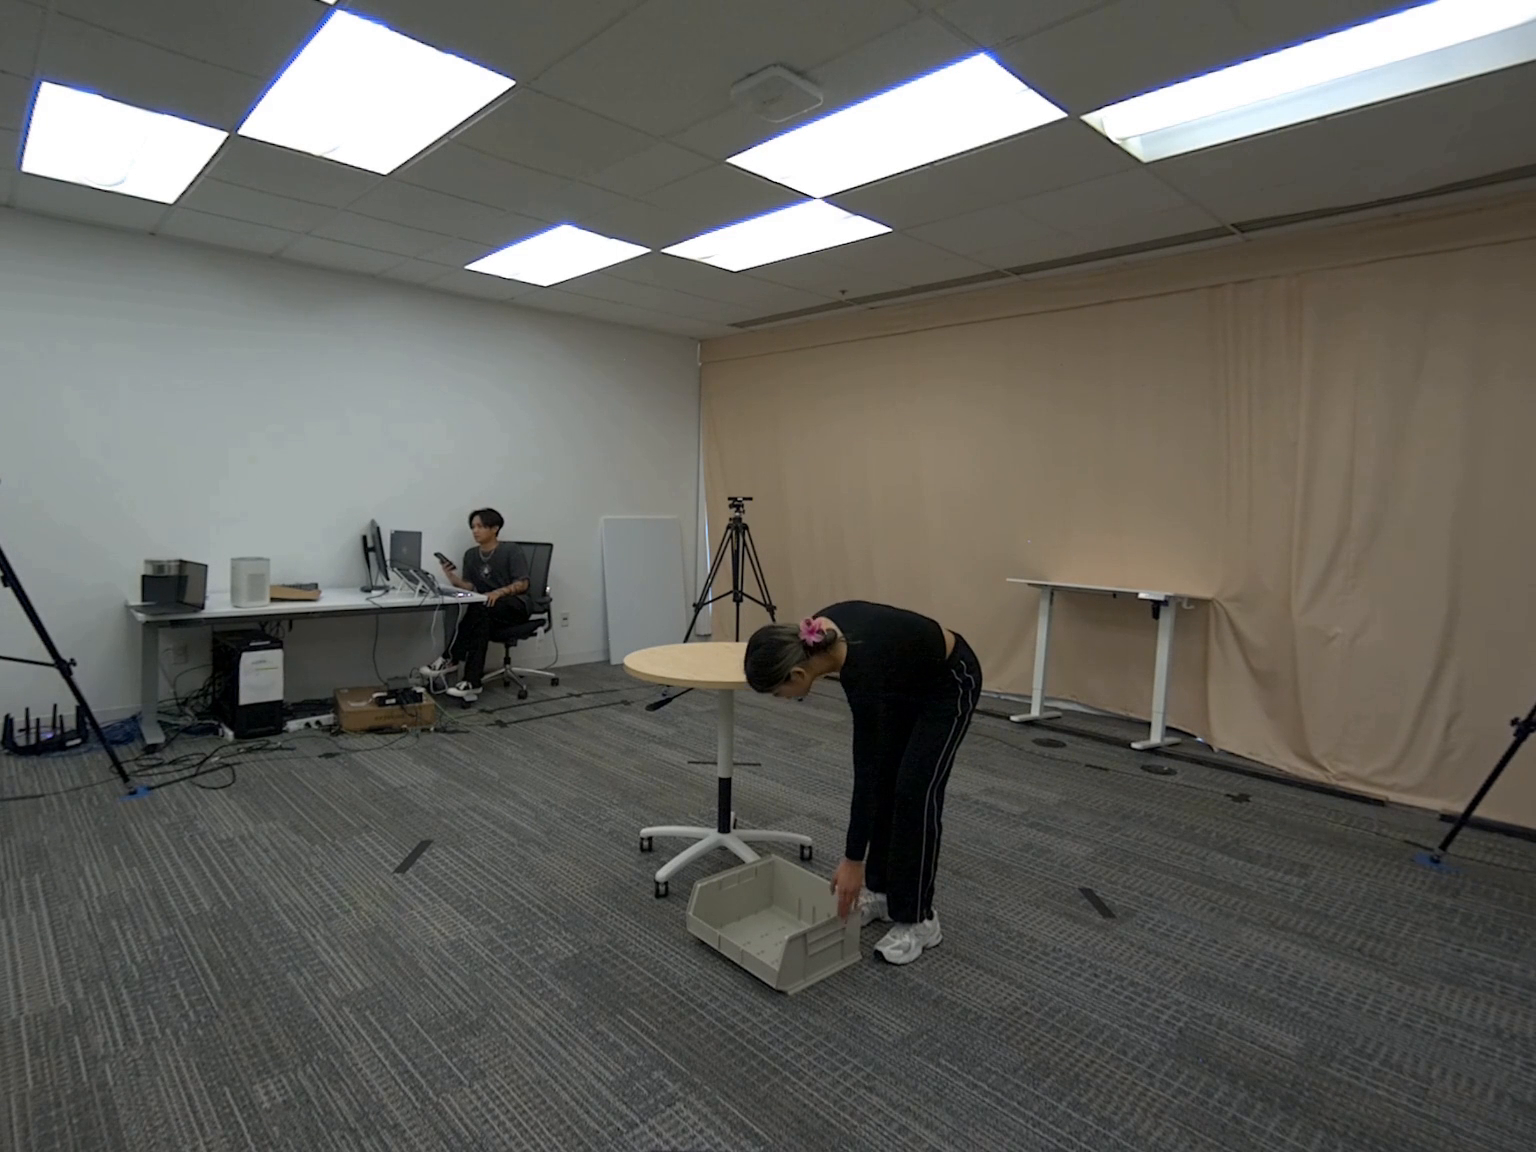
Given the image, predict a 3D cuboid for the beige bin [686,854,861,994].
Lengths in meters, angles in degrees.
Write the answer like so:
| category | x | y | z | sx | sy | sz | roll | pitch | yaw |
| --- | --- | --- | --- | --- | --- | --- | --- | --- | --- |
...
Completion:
| category | x | y | z | sx | sy | sz | roll | pitch | yaw |
| --- | --- | --- | --- | --- | --- | --- | --- | --- | --- |
| beige bin | 0.018 | 1.071 | 2.599 | 0.368 | 0.188 | 0.433 | -2 | 6 | -42 |
